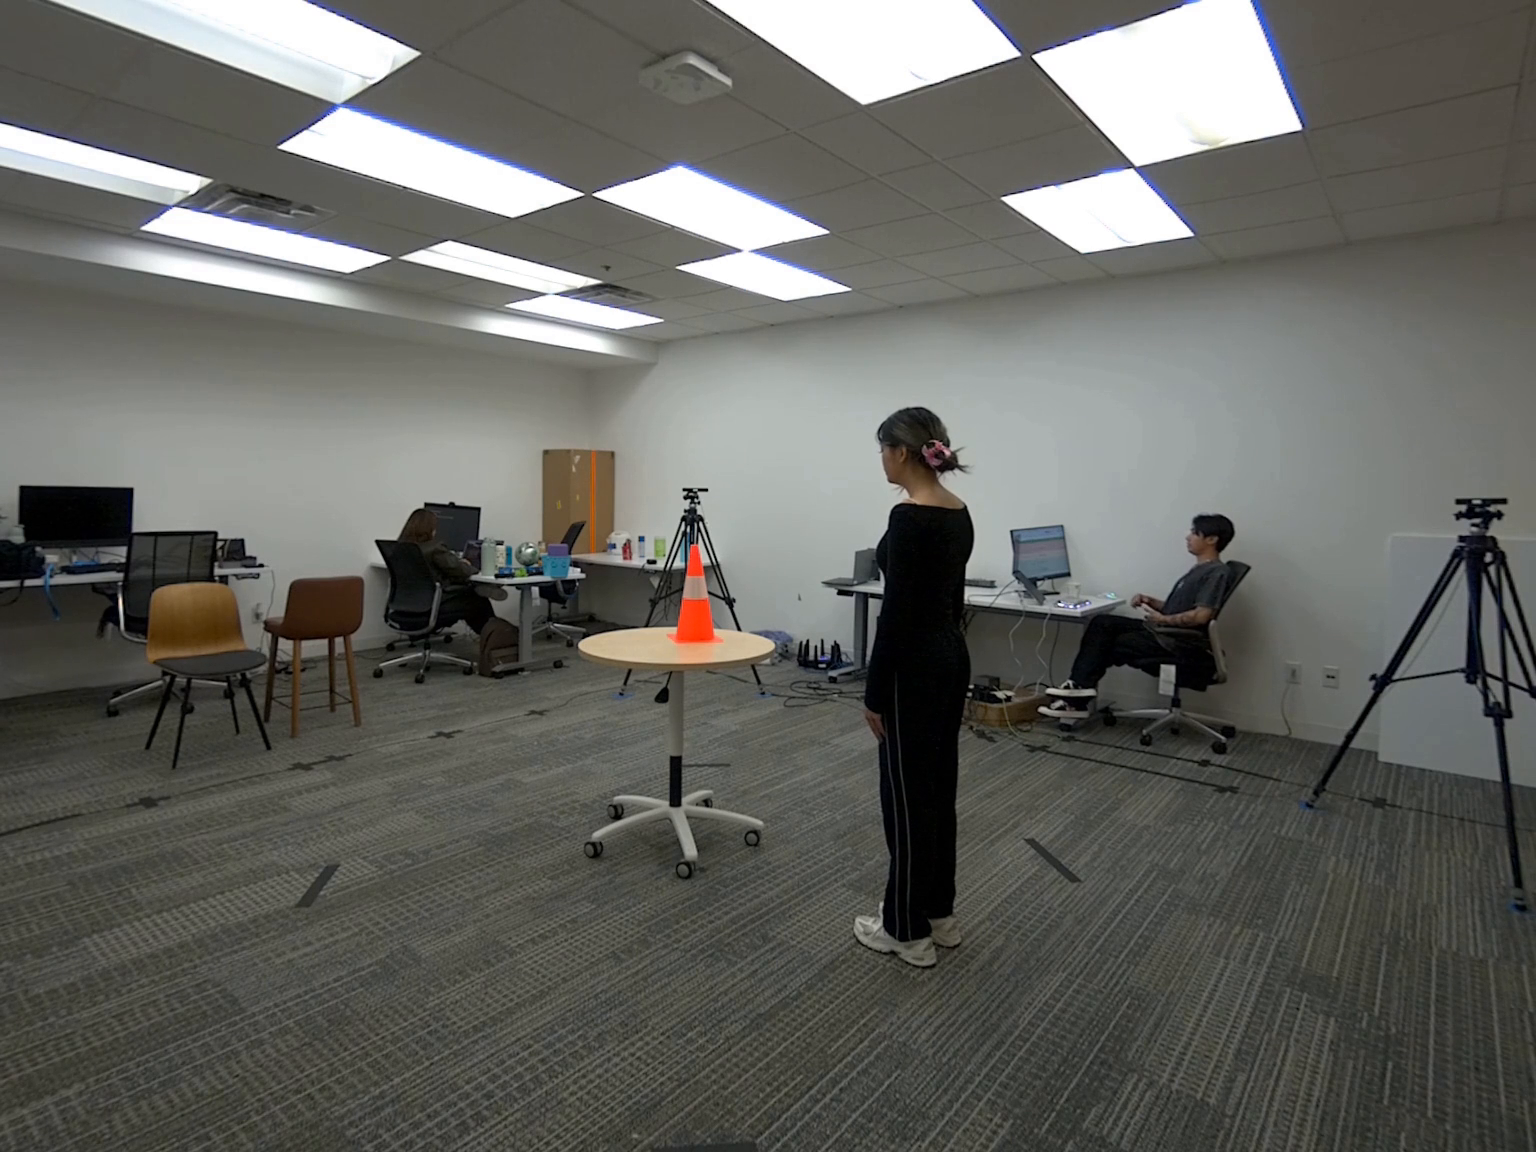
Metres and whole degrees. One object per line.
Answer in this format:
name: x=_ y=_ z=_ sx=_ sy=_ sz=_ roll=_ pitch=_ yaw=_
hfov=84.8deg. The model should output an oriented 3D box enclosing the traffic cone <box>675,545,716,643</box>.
traffic cone: x=-0.311 y=0.063 z=3.432 sx=0.201 sy=0.382 sz=0.208 roll=-1 pitch=4 yaw=-21
